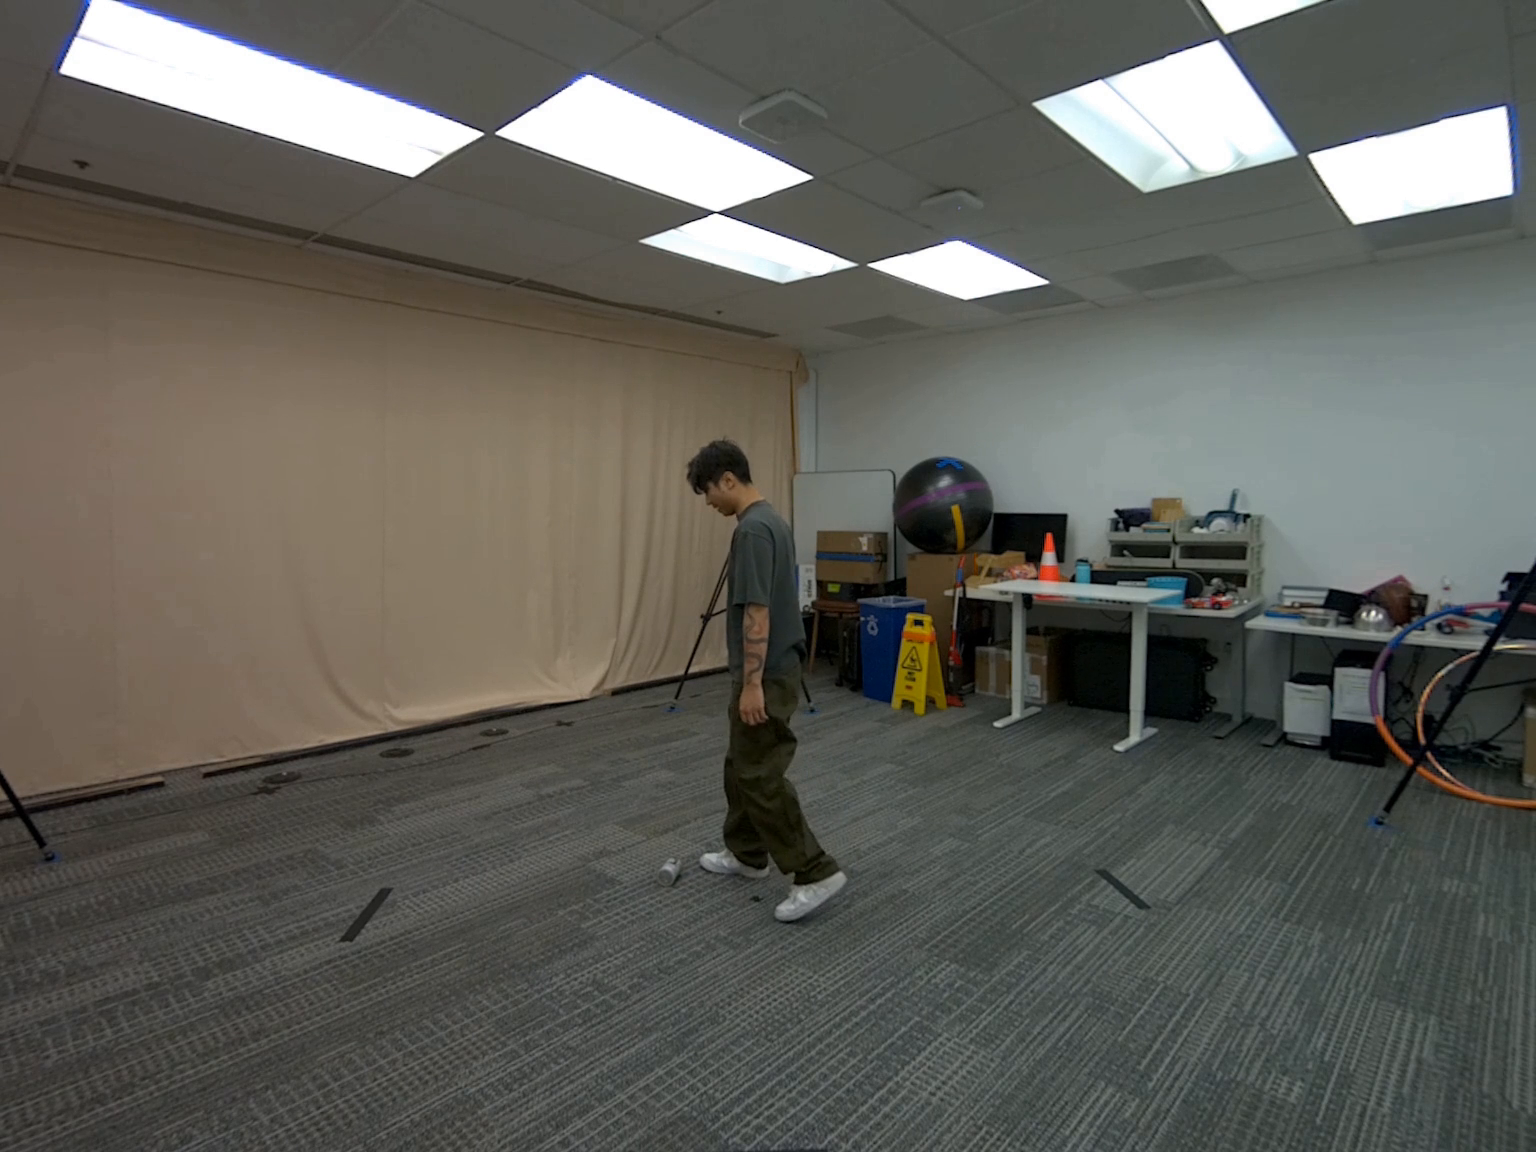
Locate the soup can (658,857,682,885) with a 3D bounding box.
[{"bbox_3d":[-0.364,1.100,3.133,0.068,0.067,0.120,1,4,13],"label":"soup can"}]
